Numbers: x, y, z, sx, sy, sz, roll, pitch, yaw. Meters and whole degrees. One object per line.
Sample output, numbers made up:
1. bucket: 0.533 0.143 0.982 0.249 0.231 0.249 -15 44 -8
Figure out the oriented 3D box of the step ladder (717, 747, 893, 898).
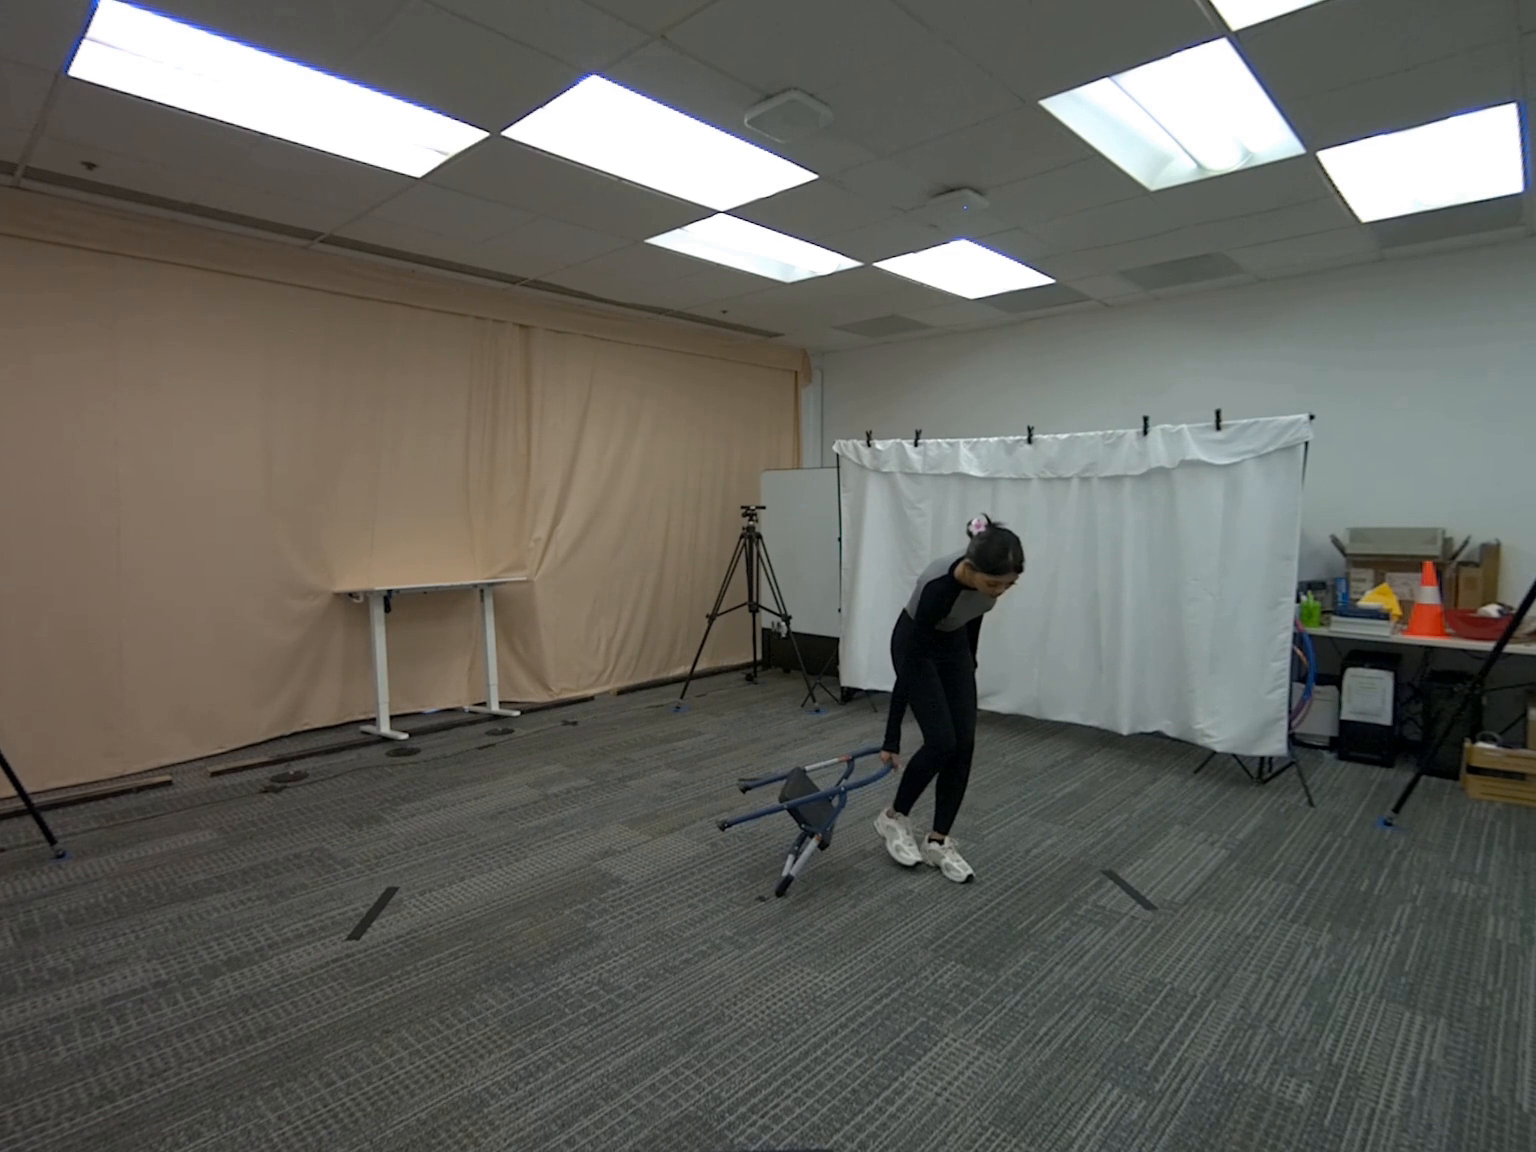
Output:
1. step ladder: 0.184 0.809 3.147 0.609 0.351 0.426 -41 -4 12
